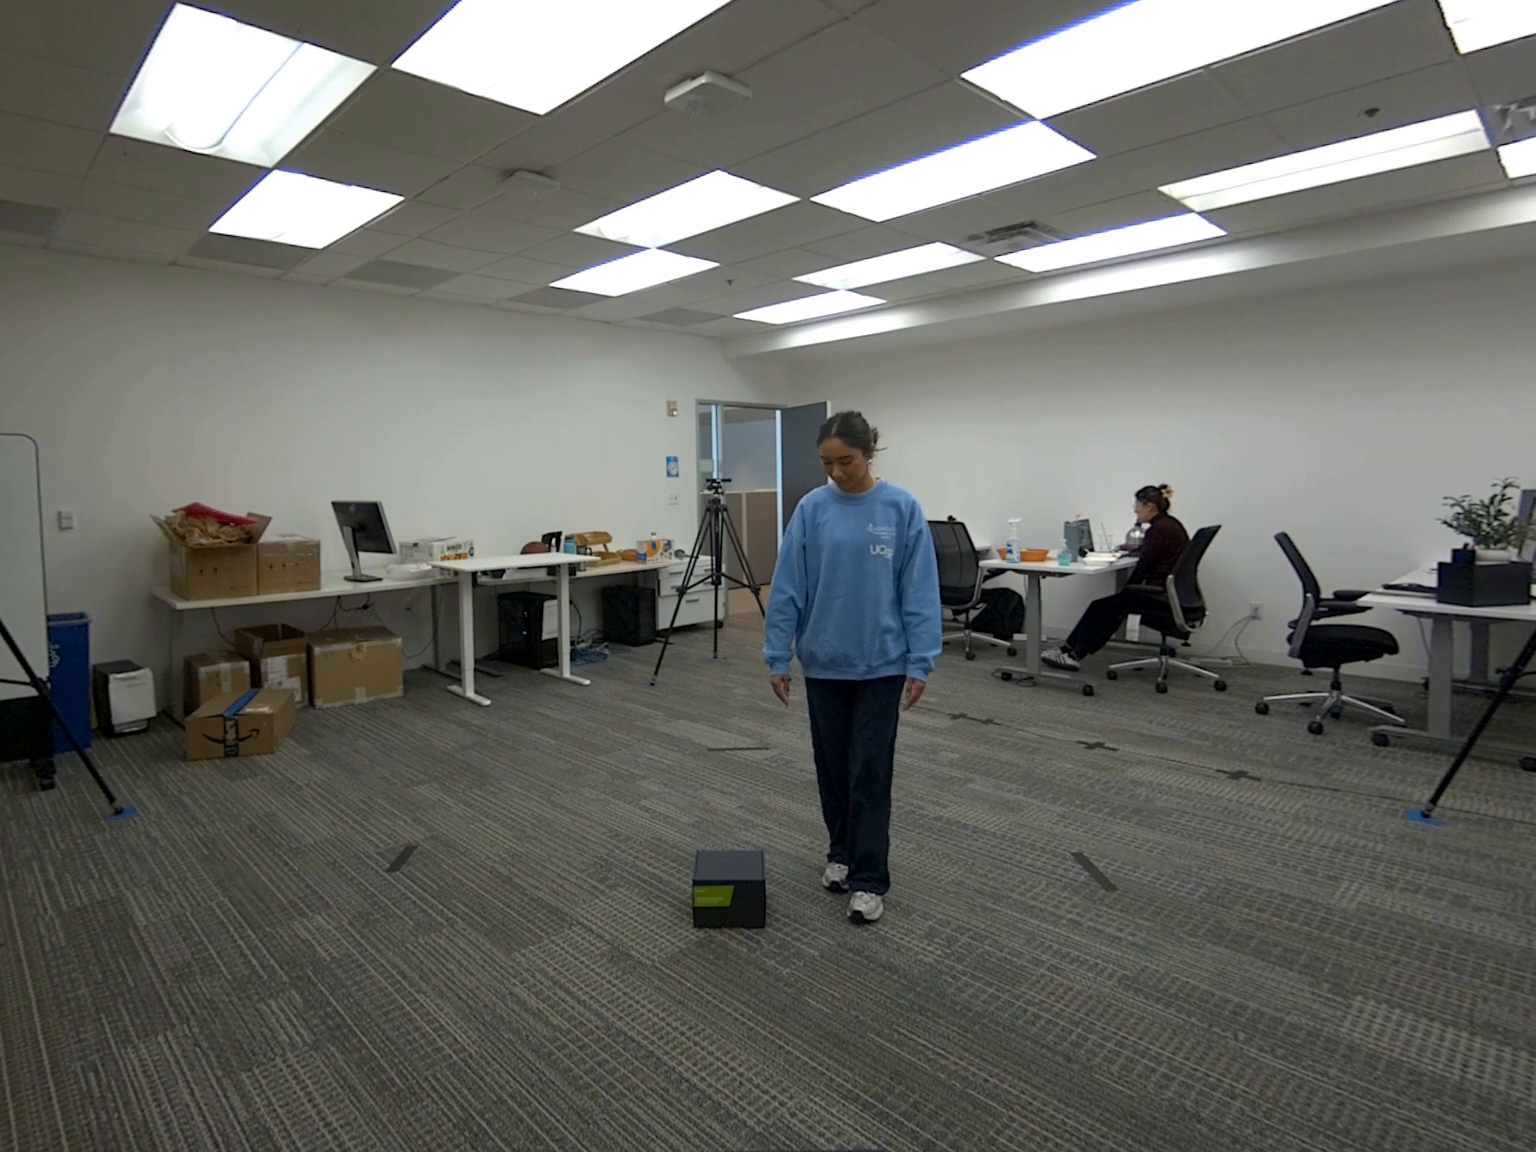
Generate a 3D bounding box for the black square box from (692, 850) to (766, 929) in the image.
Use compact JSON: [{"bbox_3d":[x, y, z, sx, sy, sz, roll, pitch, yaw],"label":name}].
[{"bbox_3d":[-0.121,1.000,2.754,0.228,0.155,0.218,-1,6,0],"label":"black square box"}]
